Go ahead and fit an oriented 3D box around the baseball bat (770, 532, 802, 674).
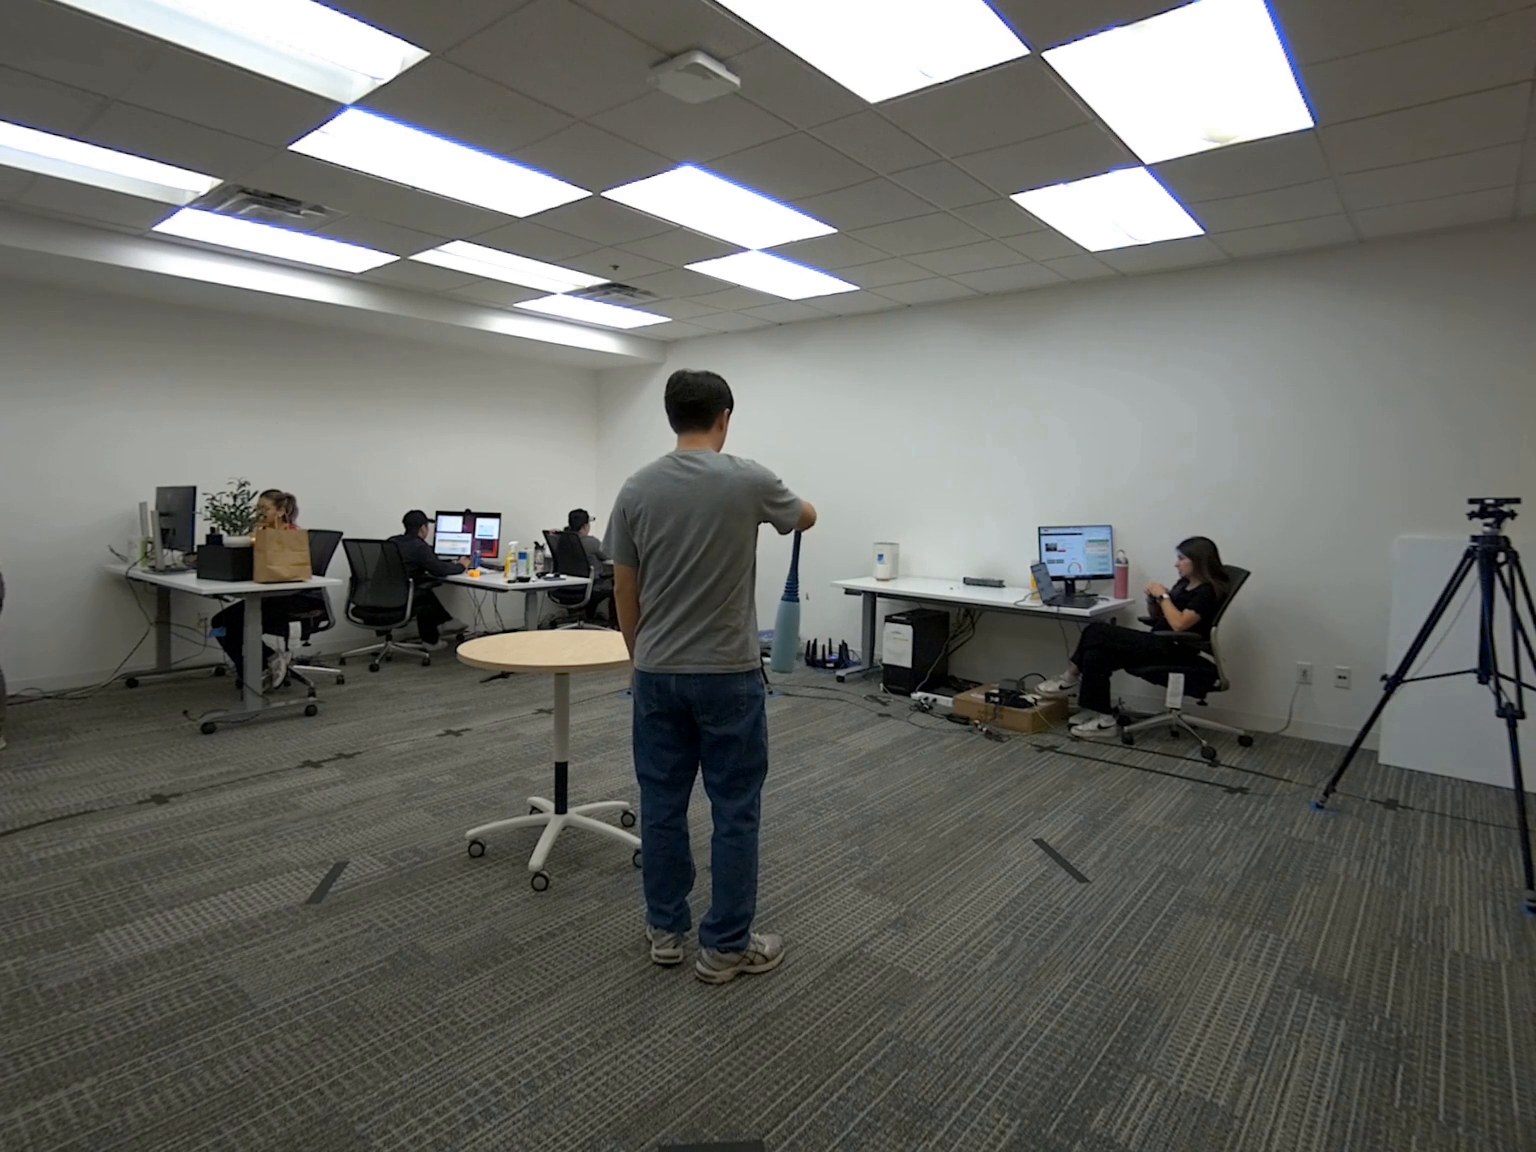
[{"bbox_3d":[0.050,0.053,2.990,0.089,0.543,0.089,7,-1,-2],"label":"baseball bat"}]
